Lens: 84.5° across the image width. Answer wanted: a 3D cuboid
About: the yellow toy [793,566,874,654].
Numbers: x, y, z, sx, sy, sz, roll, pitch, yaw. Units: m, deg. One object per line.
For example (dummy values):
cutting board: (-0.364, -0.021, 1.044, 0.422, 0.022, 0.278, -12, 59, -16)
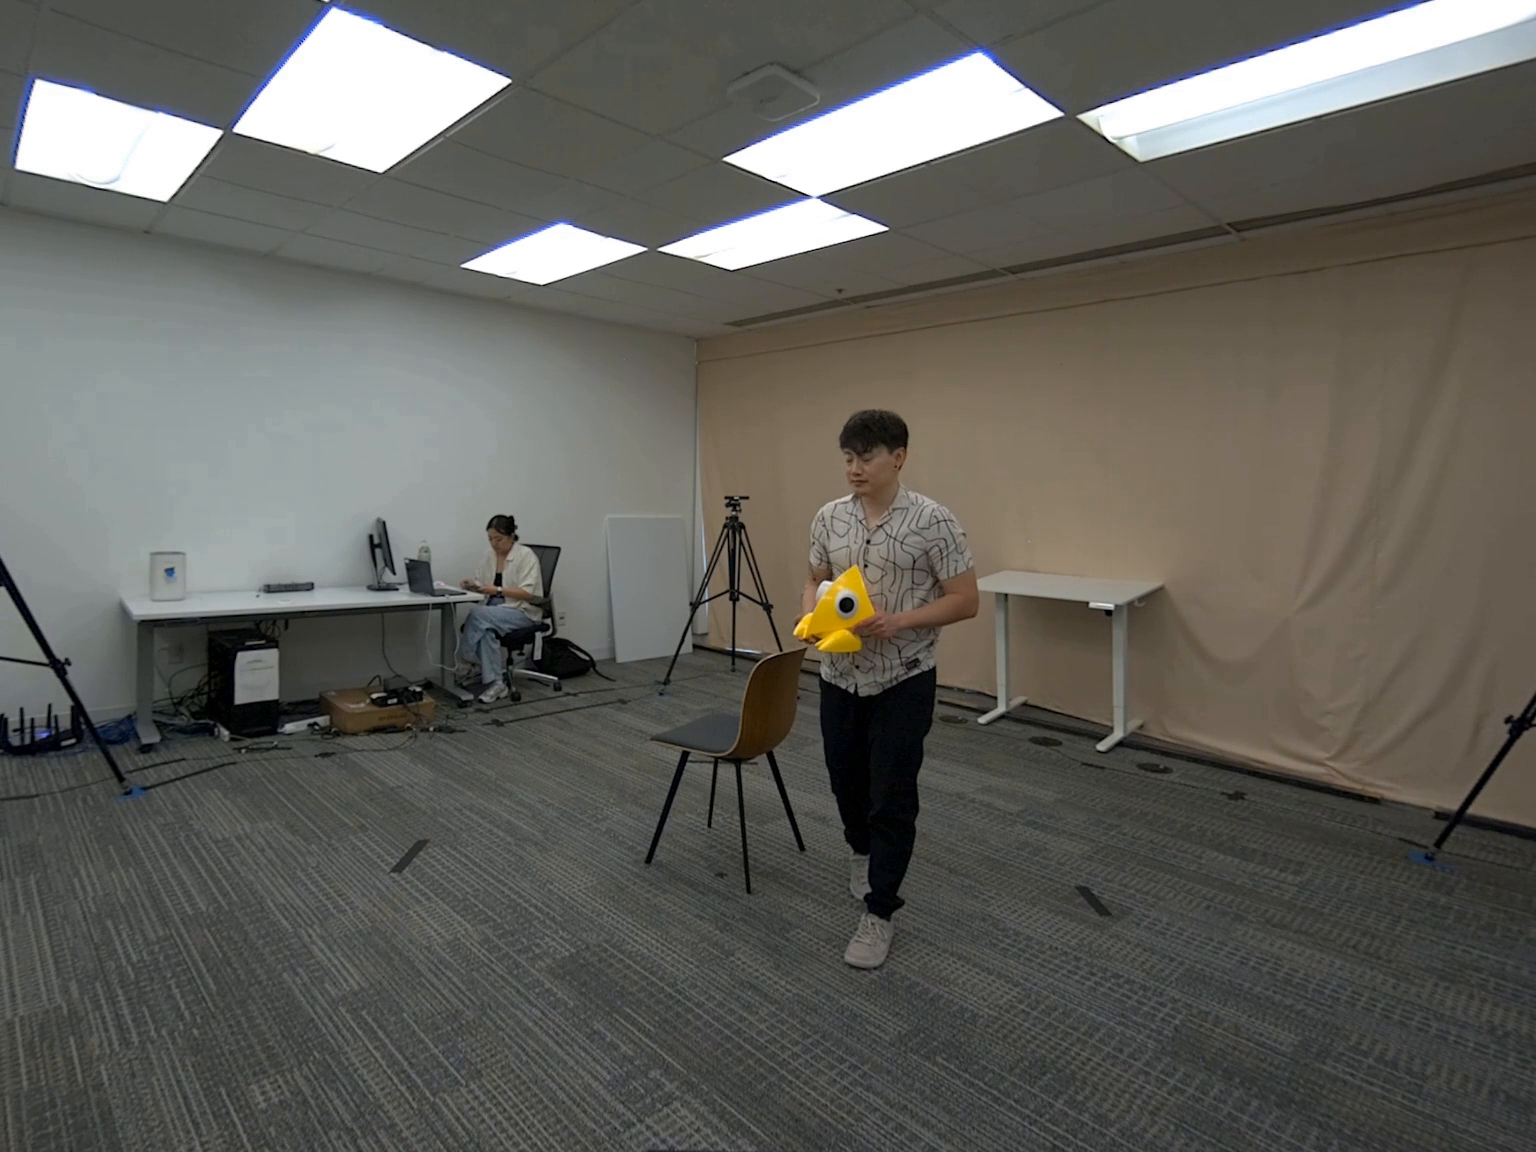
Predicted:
yellow toy: (0.192, 0.082, 2.508, 0.189, 0.229, 0.211, -2, 16, -33)
